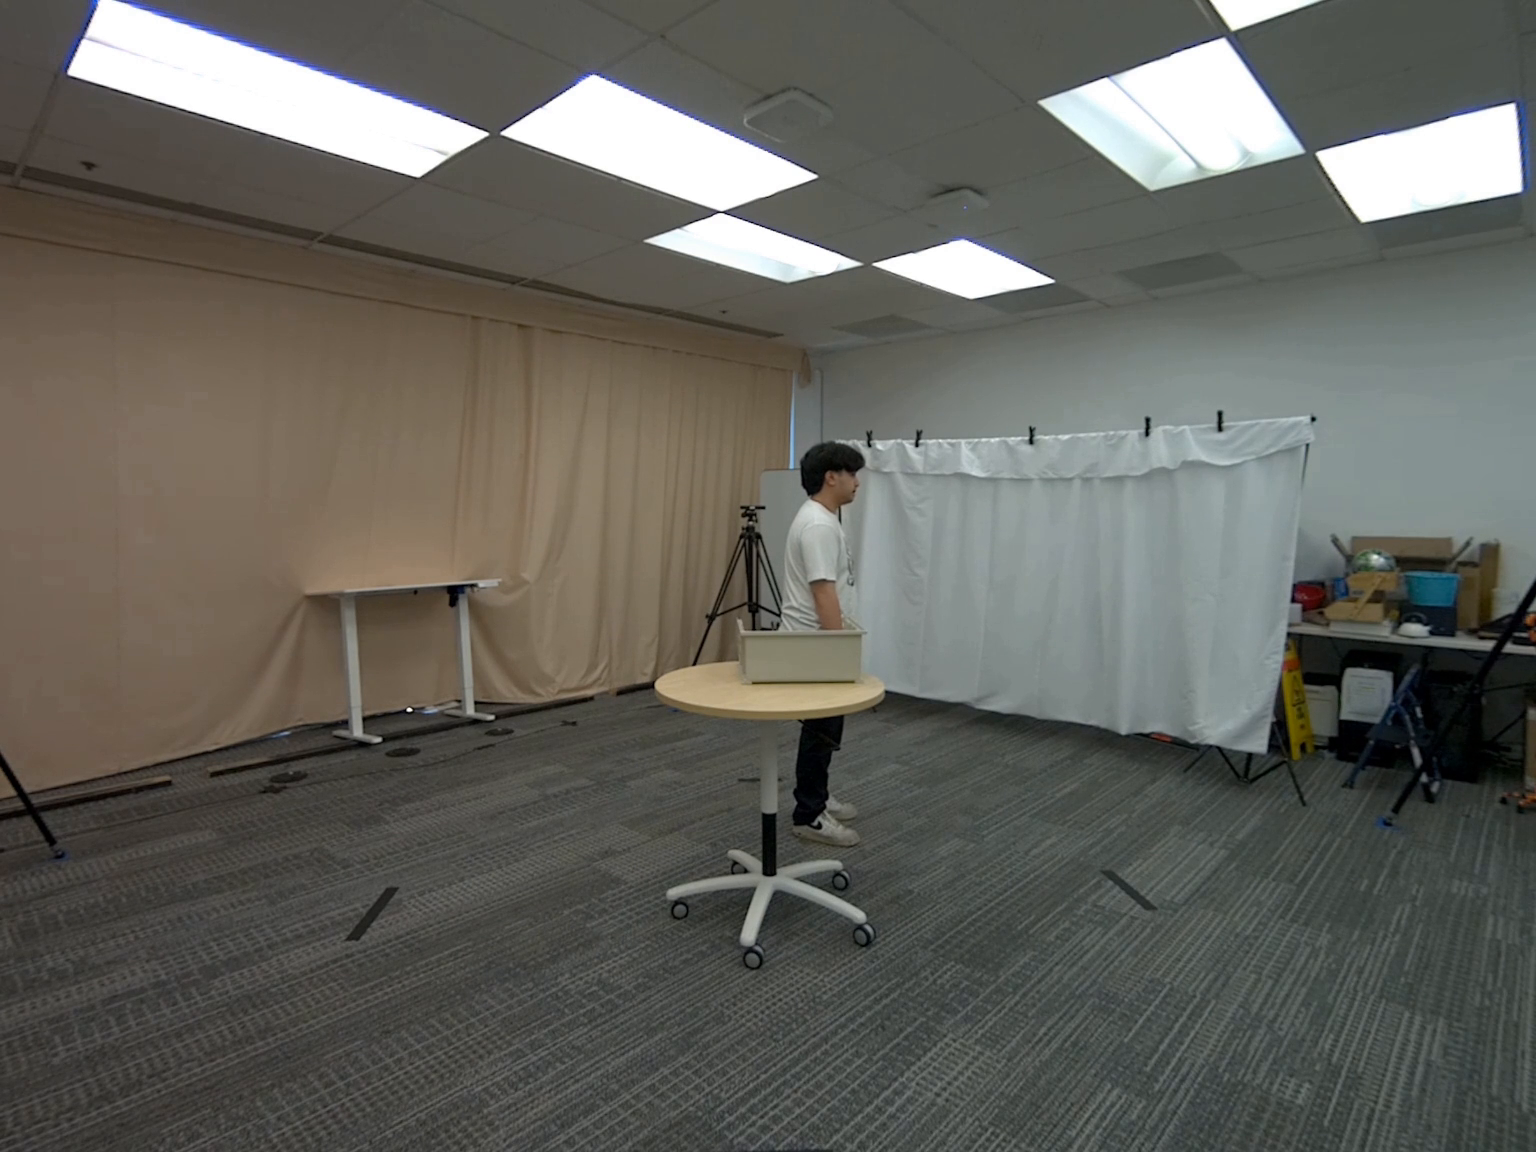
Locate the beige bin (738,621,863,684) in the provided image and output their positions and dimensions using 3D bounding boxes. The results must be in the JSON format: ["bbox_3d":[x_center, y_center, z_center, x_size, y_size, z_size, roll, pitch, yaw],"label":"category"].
[{"bbox_3d":[0.100,0.255,2.970,0.422,0.188,0.379,0,6,-2],"label":"beige bin"}]
